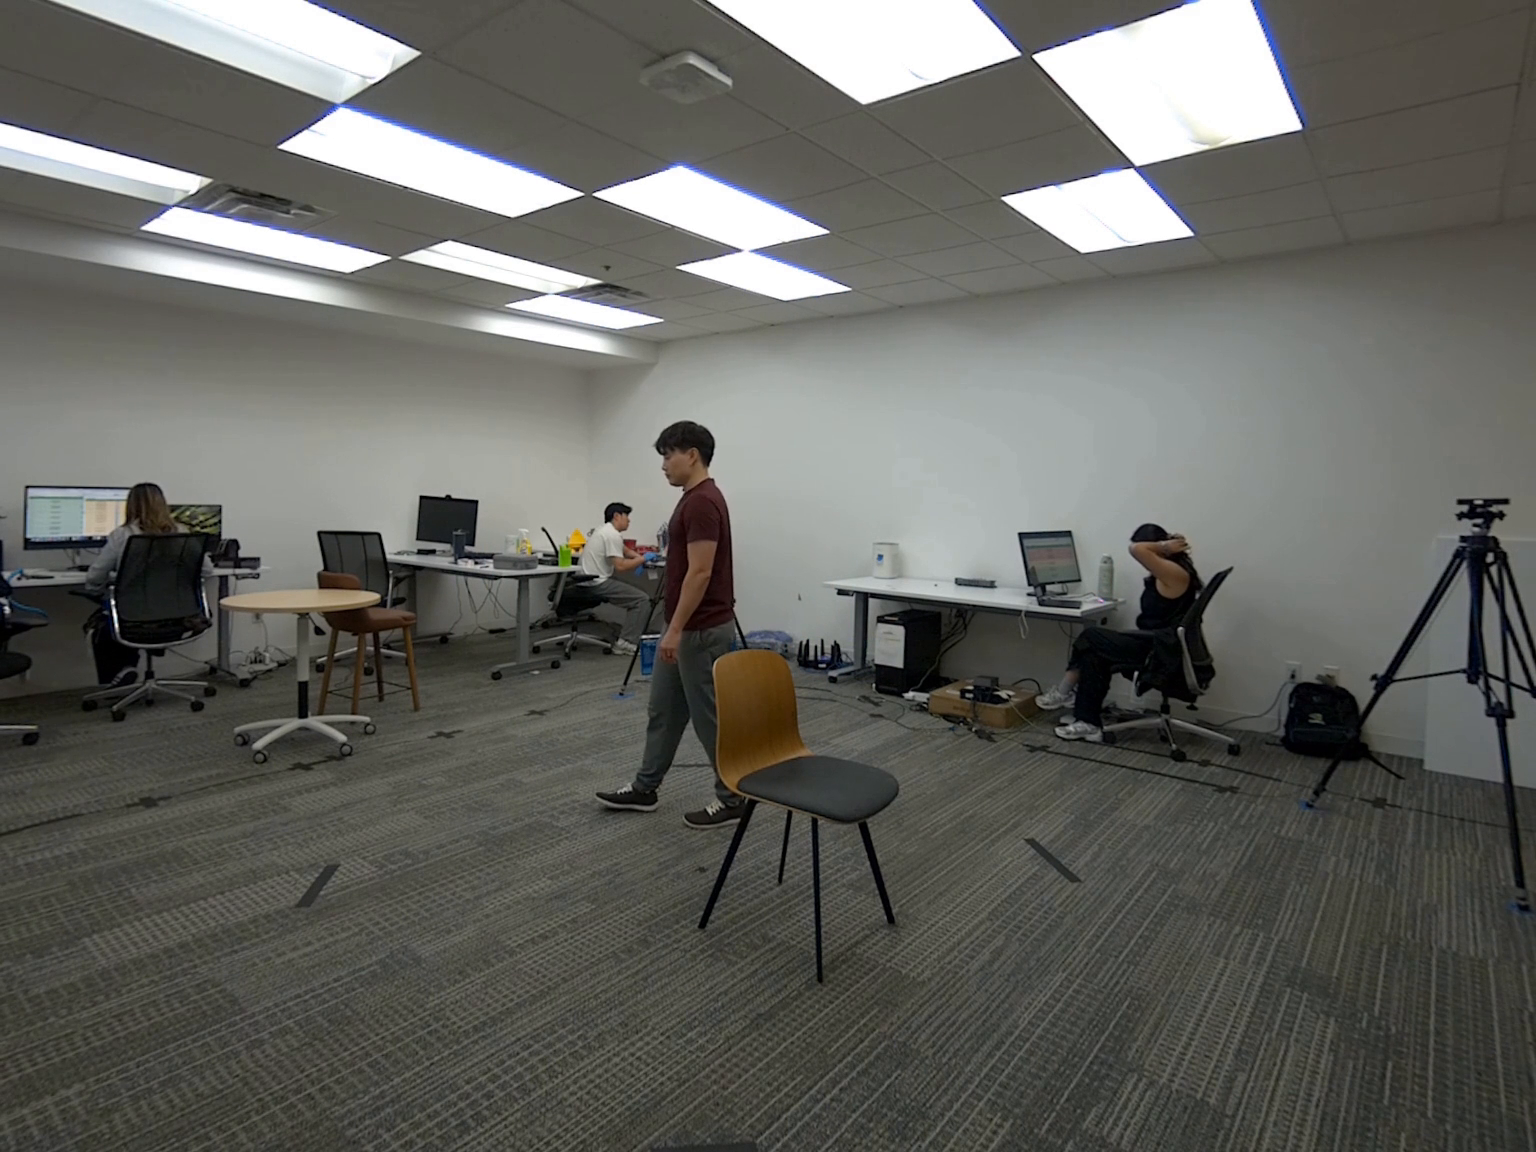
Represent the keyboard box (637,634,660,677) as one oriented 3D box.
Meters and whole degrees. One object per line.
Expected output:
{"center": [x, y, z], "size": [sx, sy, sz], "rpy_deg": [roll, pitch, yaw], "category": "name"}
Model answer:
{"center": [-0.376, 0.343, 3.864], "size": [0.435, 0.175, 0.060], "rpy_deg": [-3, 5, -4], "category": "keyboard box"}
